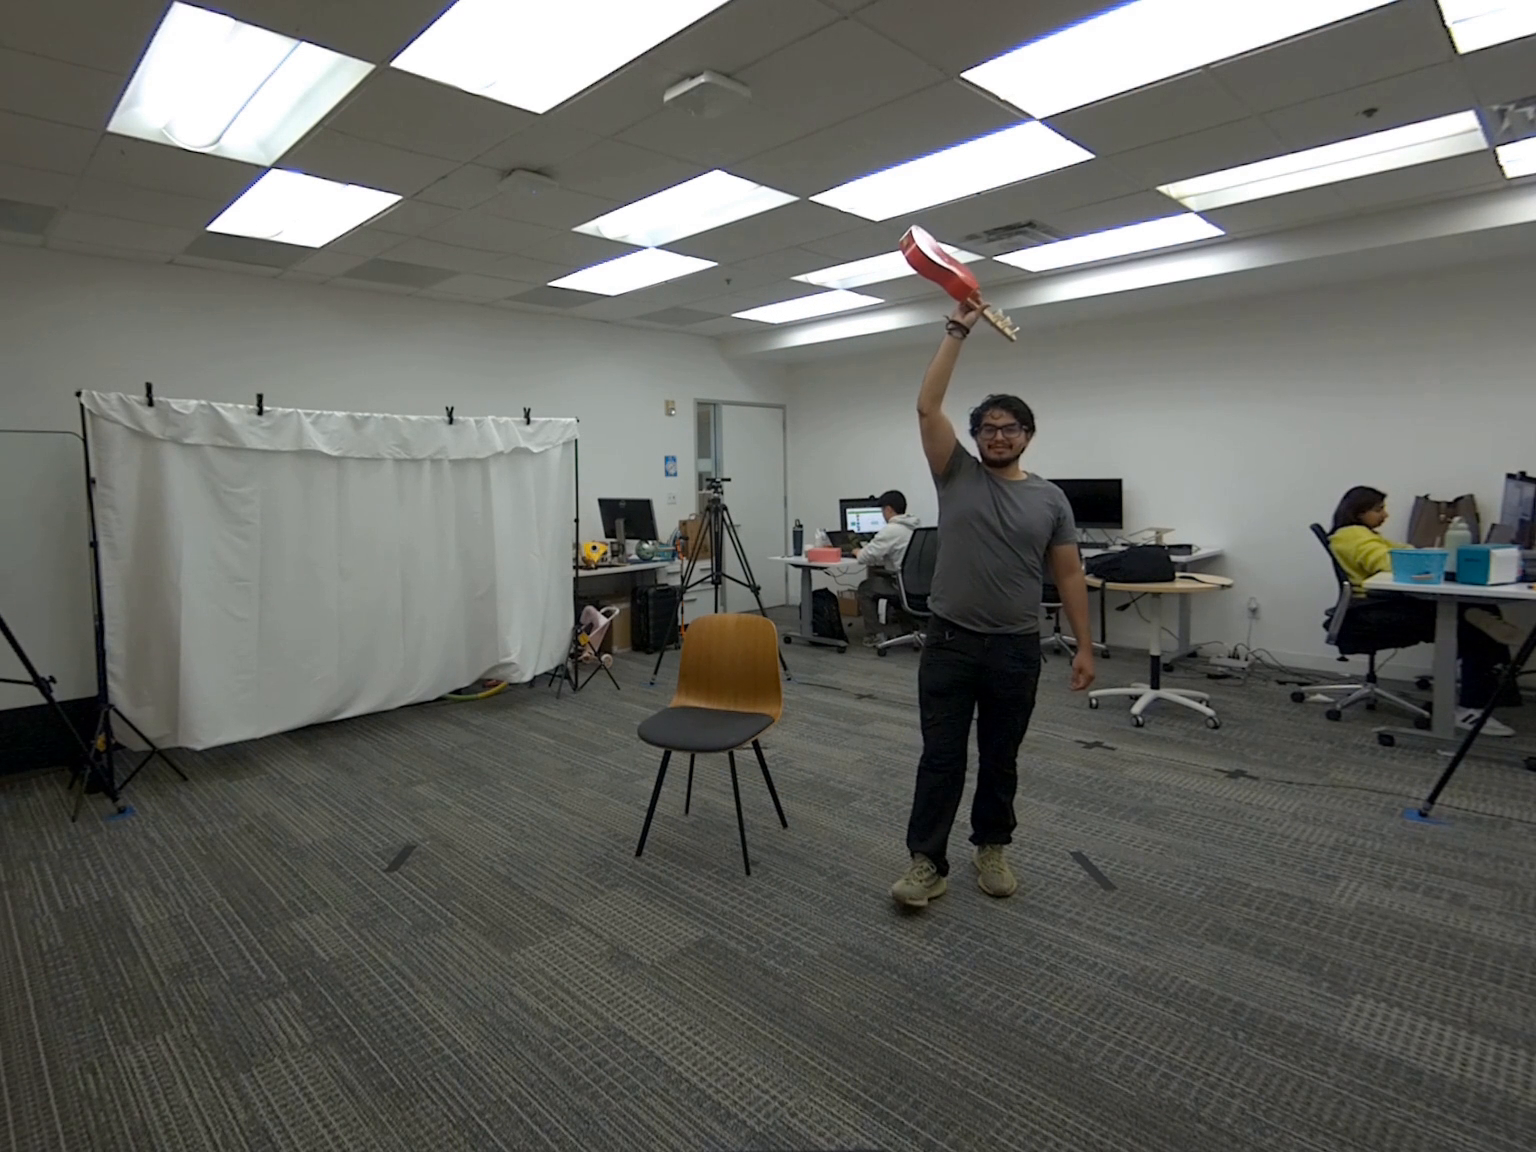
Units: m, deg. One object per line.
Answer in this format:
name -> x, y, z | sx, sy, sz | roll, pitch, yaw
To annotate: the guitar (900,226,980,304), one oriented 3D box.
guitar -> 0.606, -0.913, 2.667 | 0.483, 0.199, 0.071 | 25, -51, -27
